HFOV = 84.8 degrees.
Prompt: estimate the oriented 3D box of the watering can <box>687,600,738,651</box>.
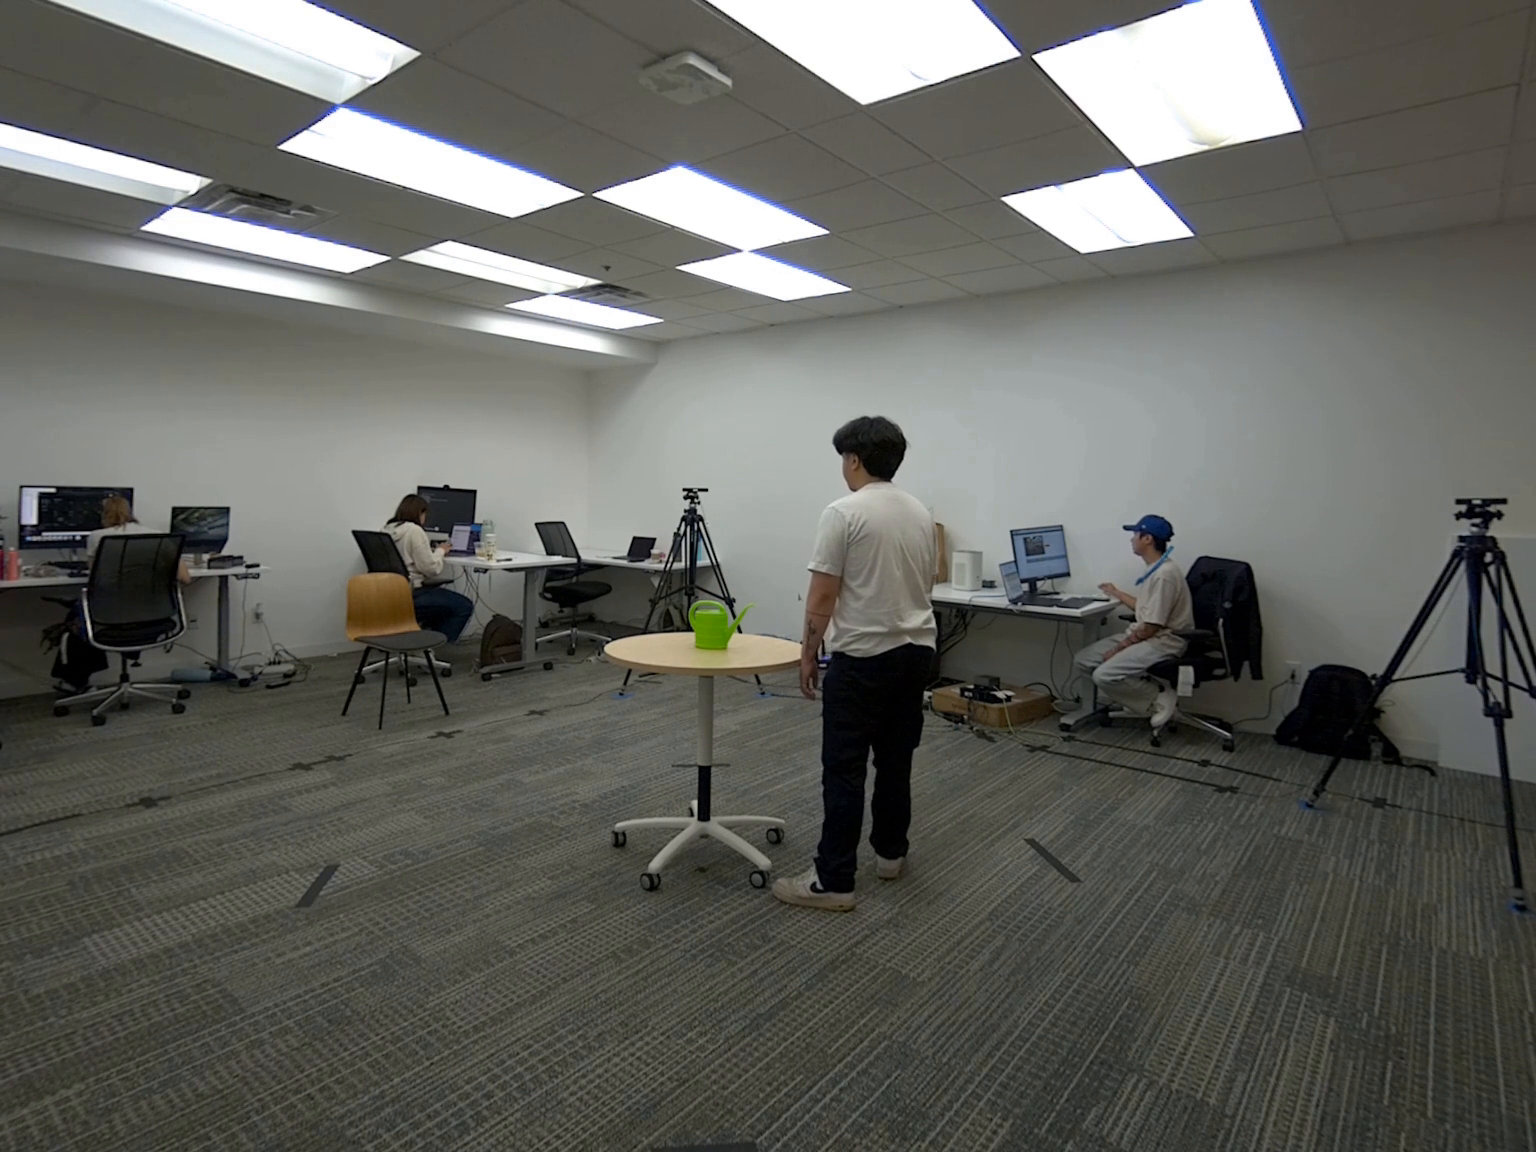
[{"bbox_3d":[-0.198,0.179,3.182,0.287,0.176,0.095,3,5,37],"label":"watering can"}]
